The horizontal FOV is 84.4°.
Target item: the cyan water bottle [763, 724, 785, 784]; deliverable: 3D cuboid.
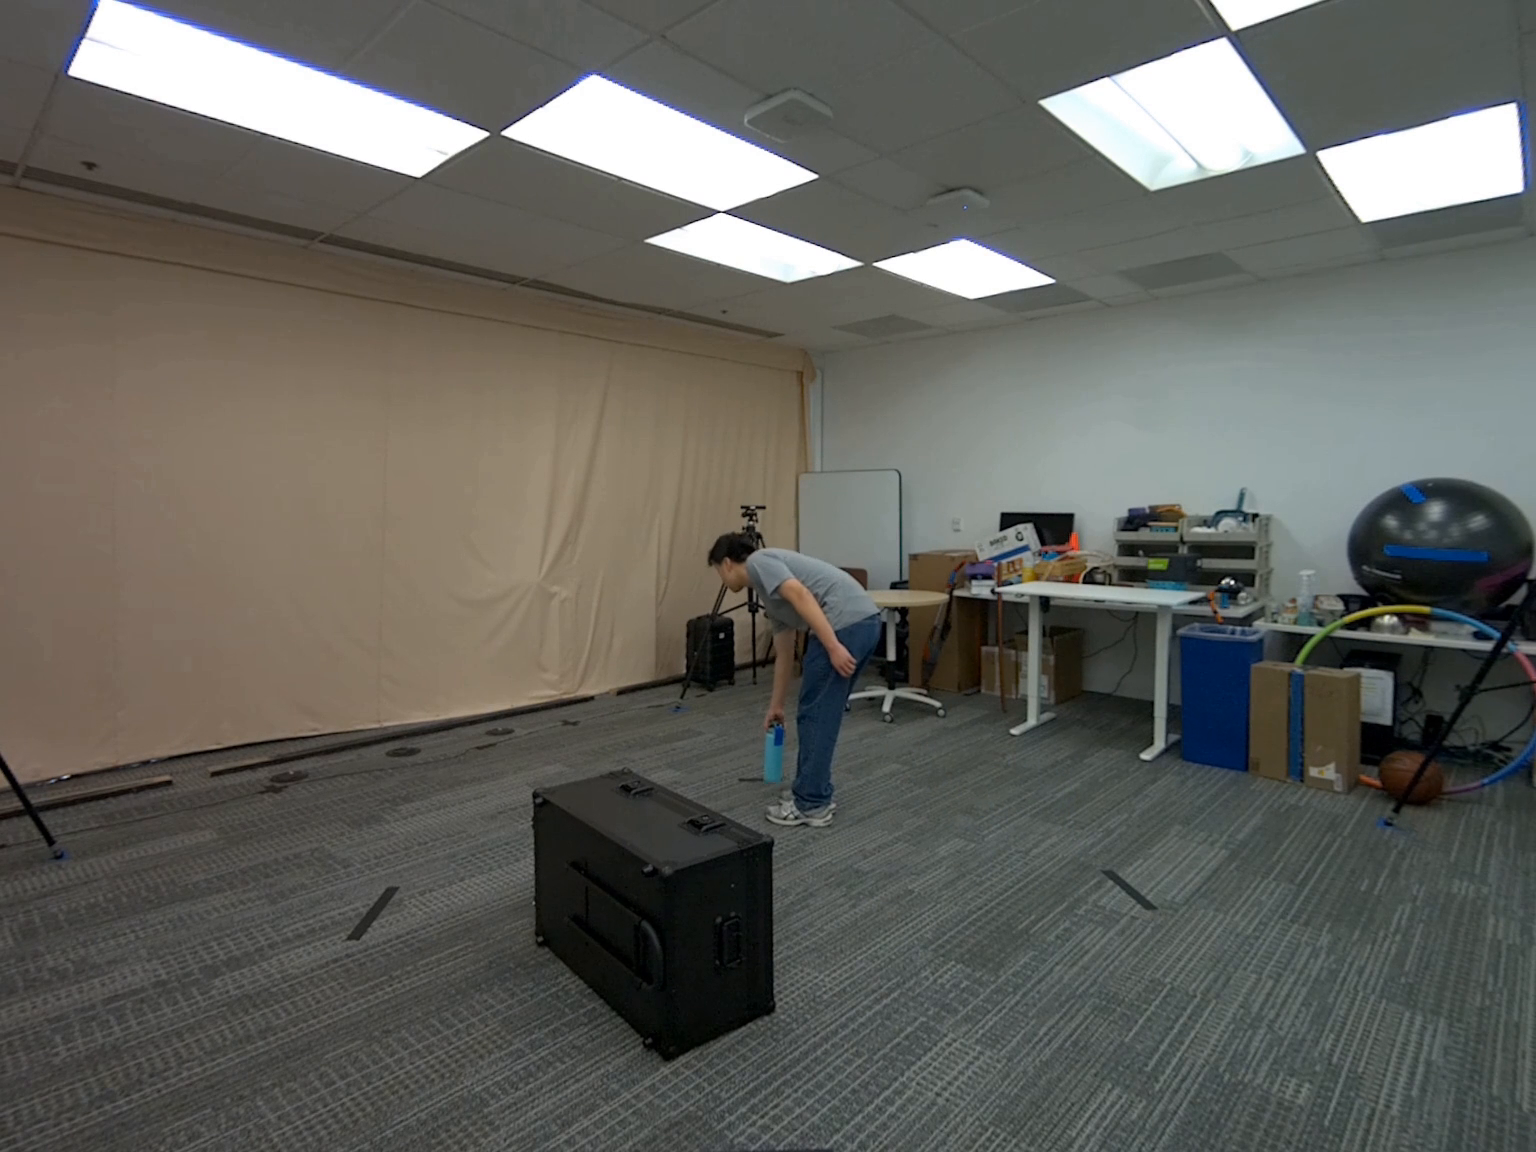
[{"bbox_3d":[0.040,0.828,4.065,0.092,0.283,0.092,2,3,-2],"label":"cyan water bottle"}]
